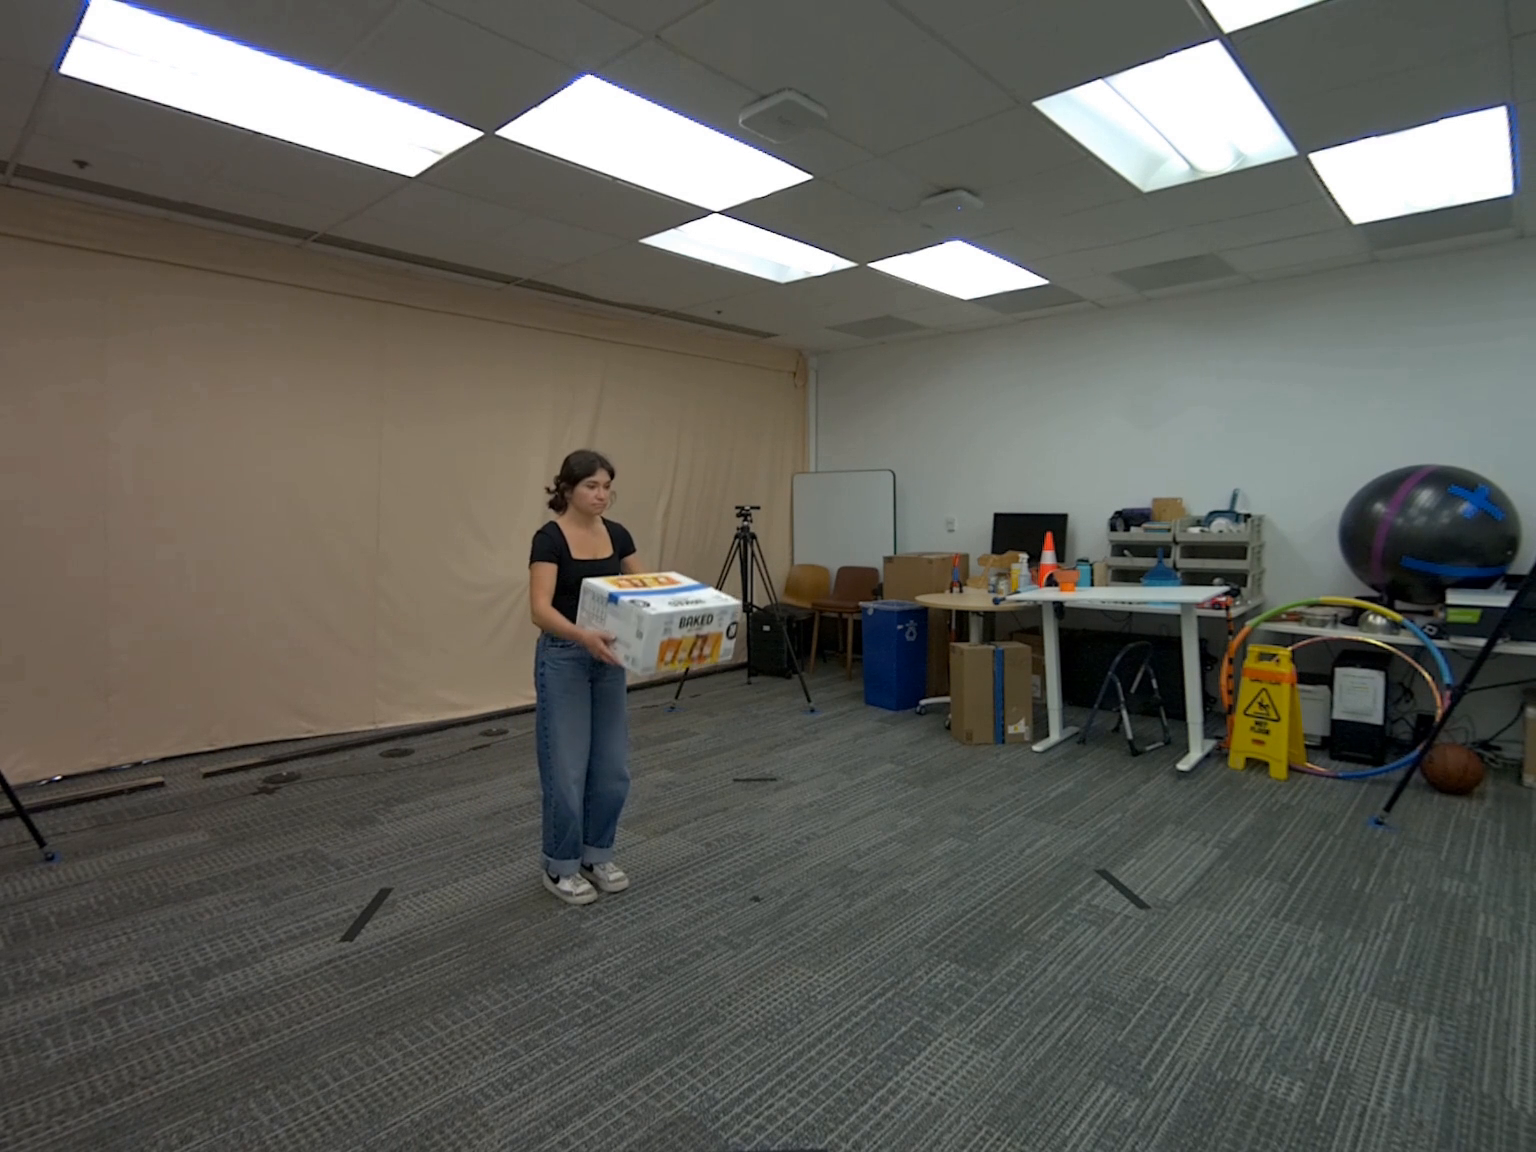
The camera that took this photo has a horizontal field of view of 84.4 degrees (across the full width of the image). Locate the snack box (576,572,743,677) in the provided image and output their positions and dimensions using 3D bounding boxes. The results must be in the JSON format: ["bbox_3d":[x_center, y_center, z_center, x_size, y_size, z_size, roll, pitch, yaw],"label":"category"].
[{"bbox_3d":[-0.357,0.119,2.736,0.353,0.204,0.393,21,17,39],"label":"snack box"}]
